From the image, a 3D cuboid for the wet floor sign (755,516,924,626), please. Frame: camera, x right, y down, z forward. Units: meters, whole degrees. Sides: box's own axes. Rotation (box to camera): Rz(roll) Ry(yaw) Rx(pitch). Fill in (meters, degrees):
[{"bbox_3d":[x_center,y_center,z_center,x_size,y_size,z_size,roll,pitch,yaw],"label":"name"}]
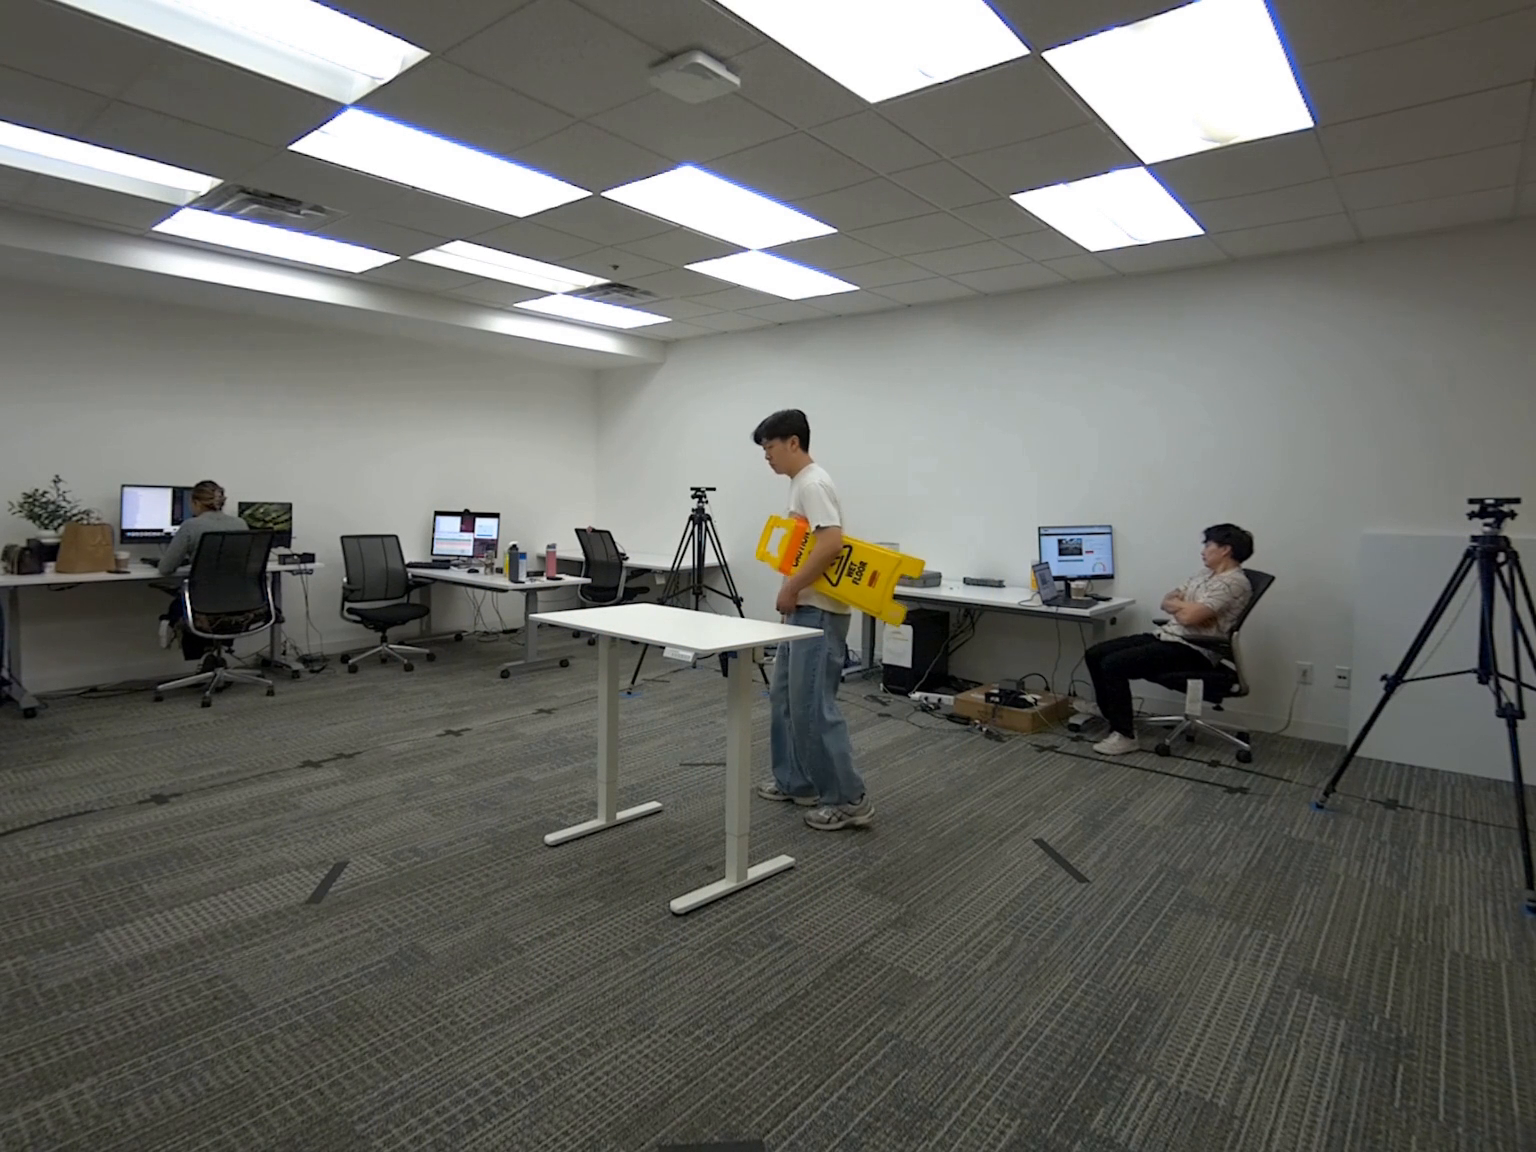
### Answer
[{"bbox_3d":[0.264,-0.054,3.466,0.655,0.282,0.286,21,2,9],"label":"wet floor sign"}]
